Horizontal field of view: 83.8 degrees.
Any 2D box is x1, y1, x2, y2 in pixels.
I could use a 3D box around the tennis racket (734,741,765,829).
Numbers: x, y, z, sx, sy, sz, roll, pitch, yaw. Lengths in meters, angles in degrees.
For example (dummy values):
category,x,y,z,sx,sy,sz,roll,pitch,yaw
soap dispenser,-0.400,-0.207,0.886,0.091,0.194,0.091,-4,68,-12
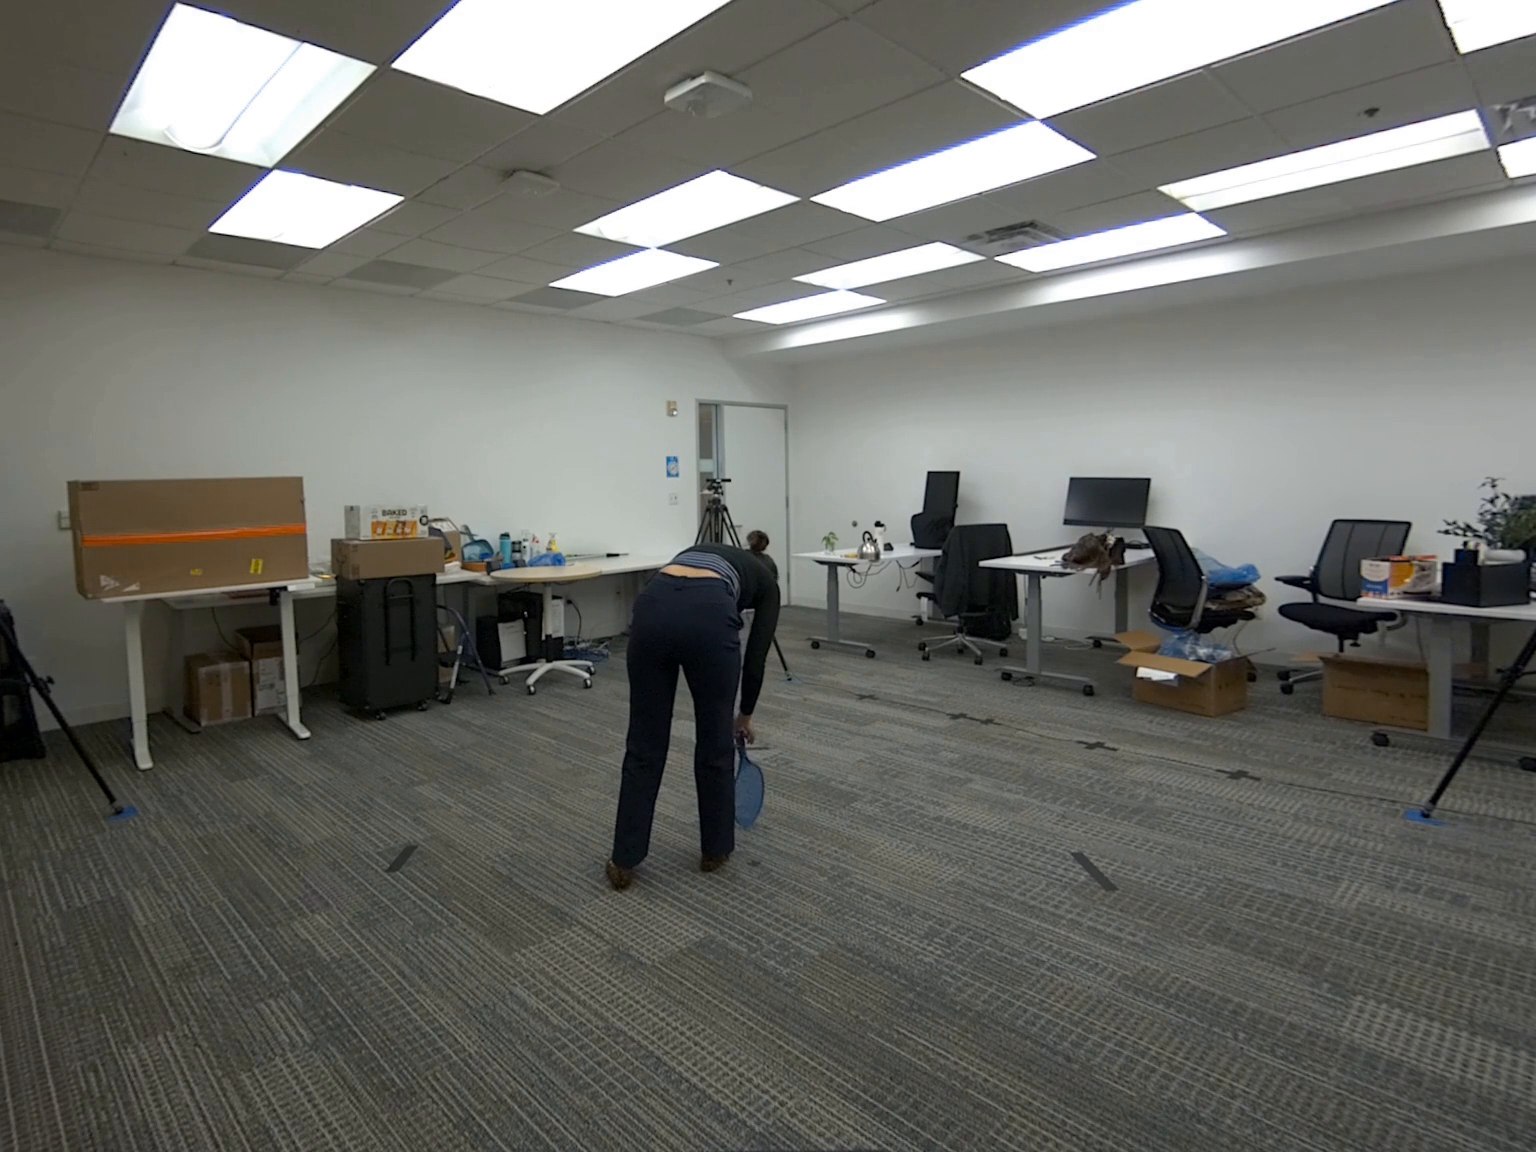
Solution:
category,x,y,z,sx,sy,sz,roll,pitch,yaw
tennis racket,-0.091,0.804,3.393,0.033,0.424,0.212,6,26,34
